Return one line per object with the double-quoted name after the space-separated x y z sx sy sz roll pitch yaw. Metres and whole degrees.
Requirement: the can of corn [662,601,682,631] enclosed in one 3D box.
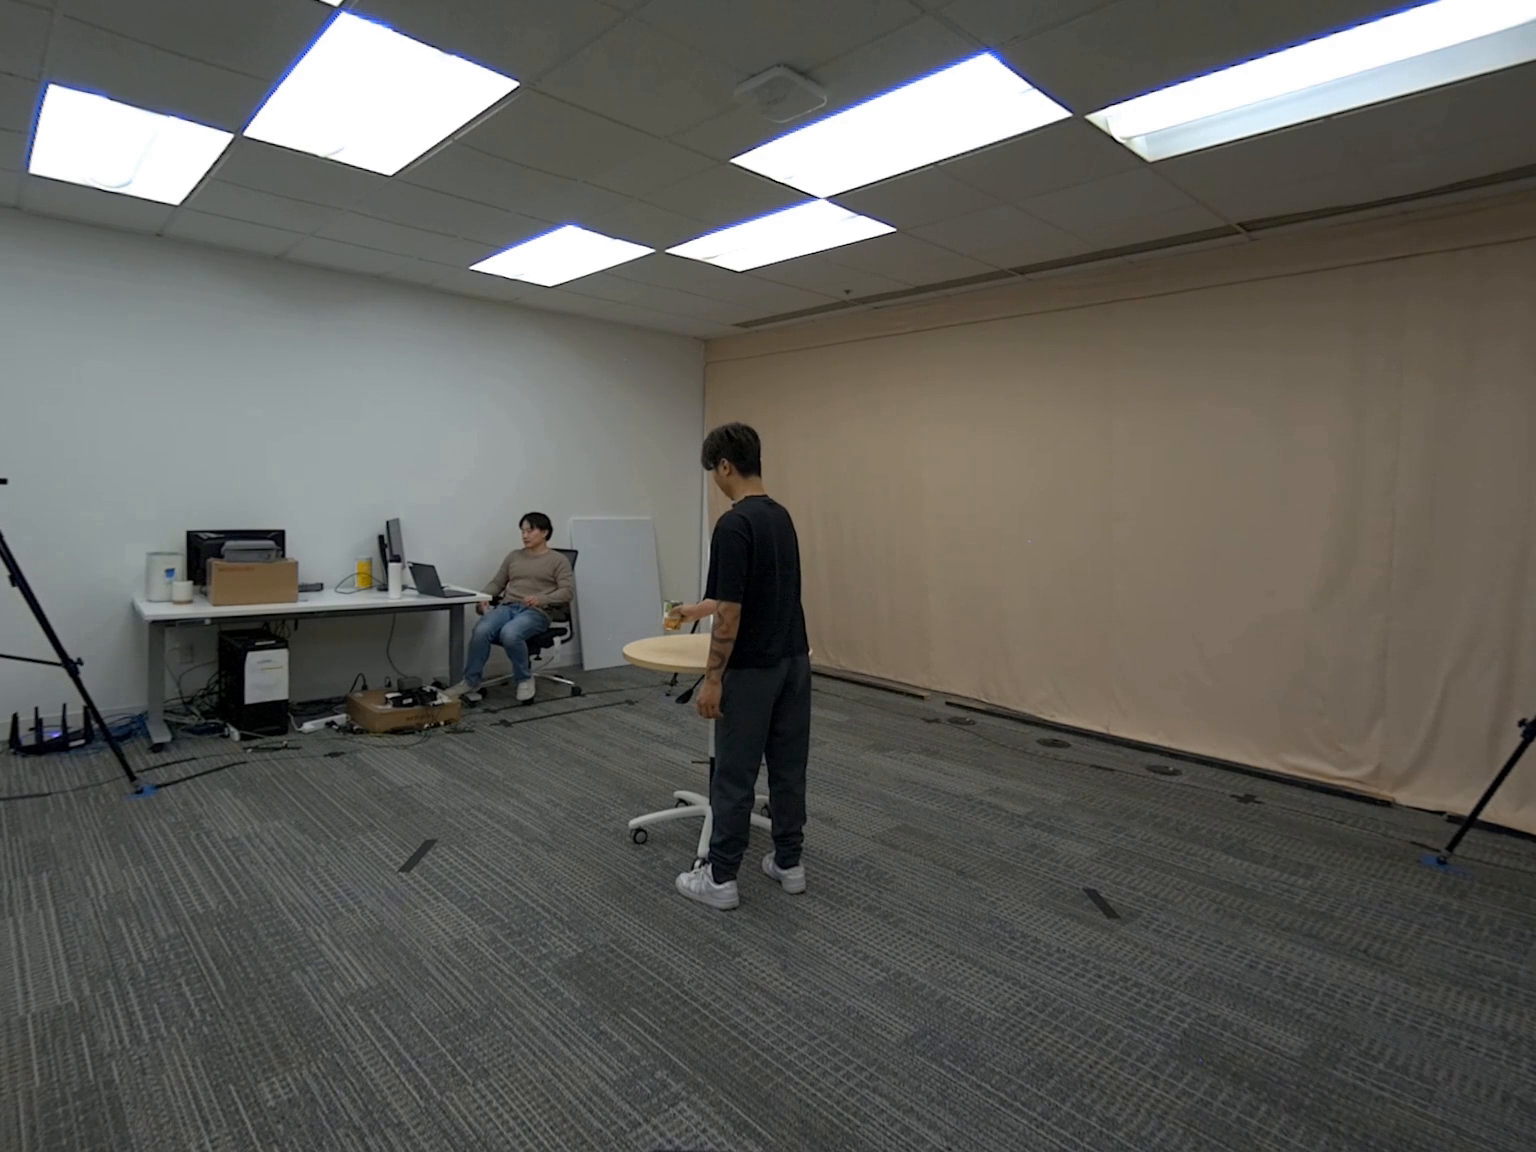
-0.375 0.156 3.368 0.074 0.111 0.074 4 2 -2 "can of corn"
